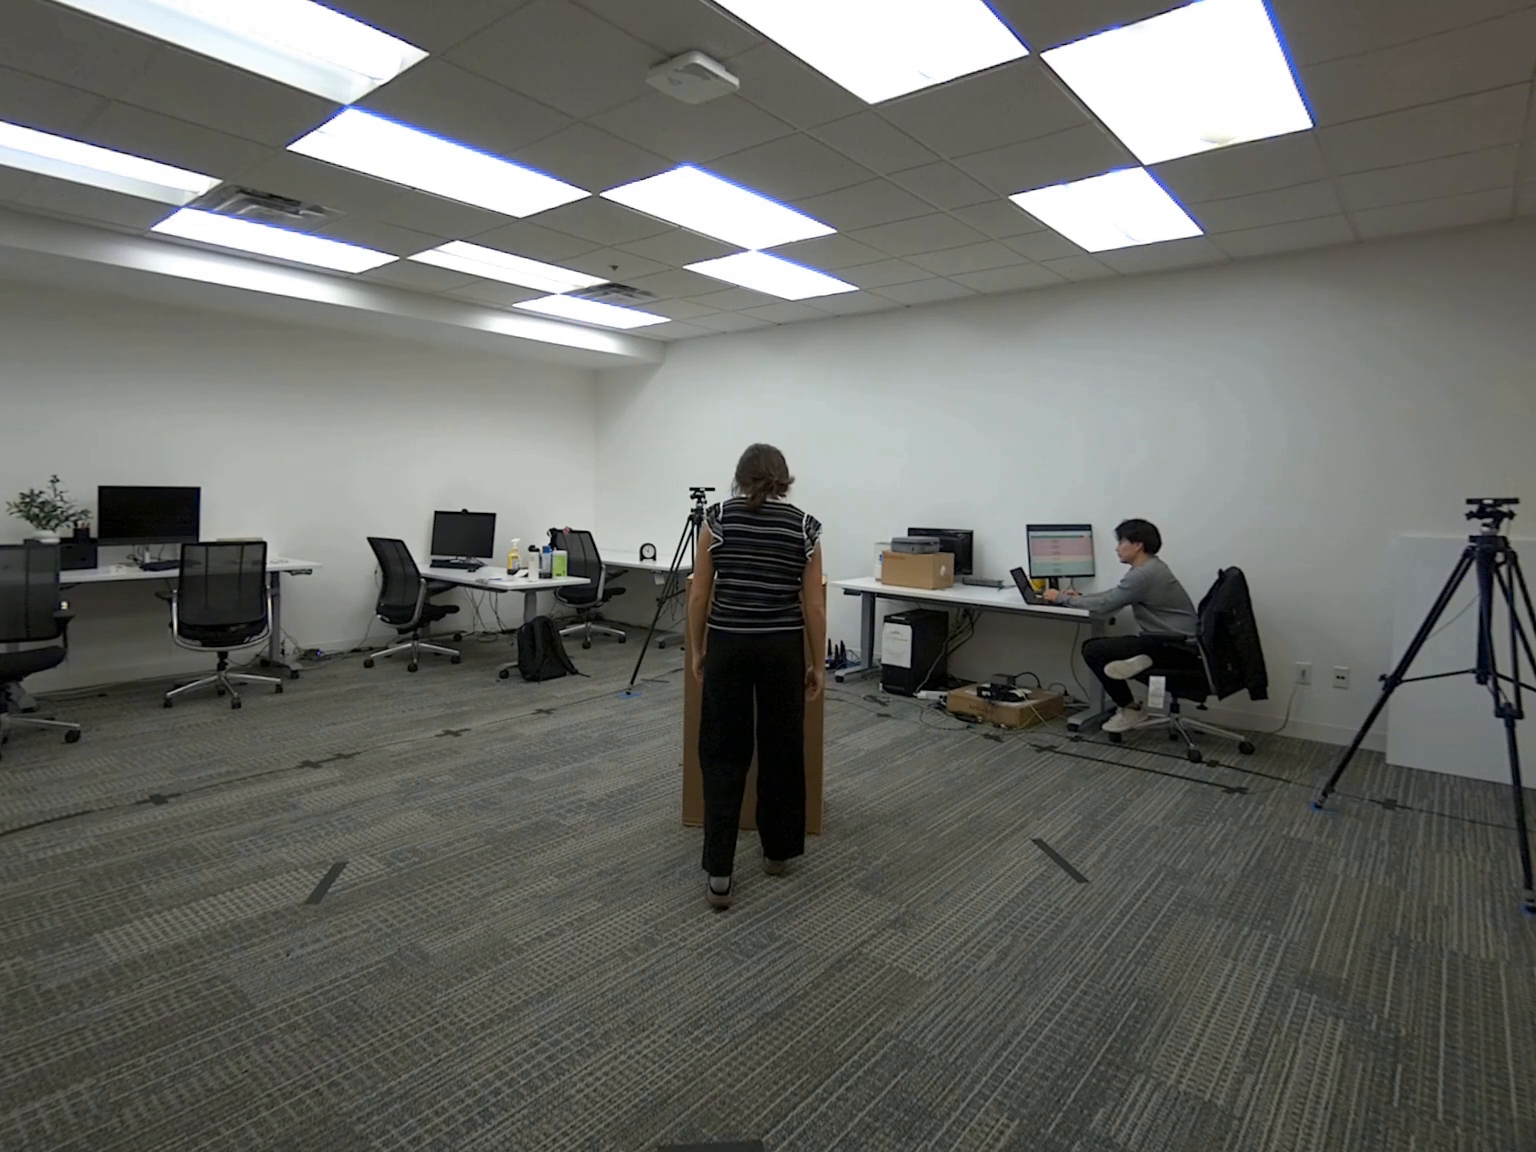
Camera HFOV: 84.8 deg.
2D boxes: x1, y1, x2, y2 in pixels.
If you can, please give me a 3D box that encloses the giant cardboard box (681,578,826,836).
[{"bbox_3d":[-0.057,0.506,3.658,0.581,1.023,0.425,1,3,5],"label":"giant cardboard box"}]
